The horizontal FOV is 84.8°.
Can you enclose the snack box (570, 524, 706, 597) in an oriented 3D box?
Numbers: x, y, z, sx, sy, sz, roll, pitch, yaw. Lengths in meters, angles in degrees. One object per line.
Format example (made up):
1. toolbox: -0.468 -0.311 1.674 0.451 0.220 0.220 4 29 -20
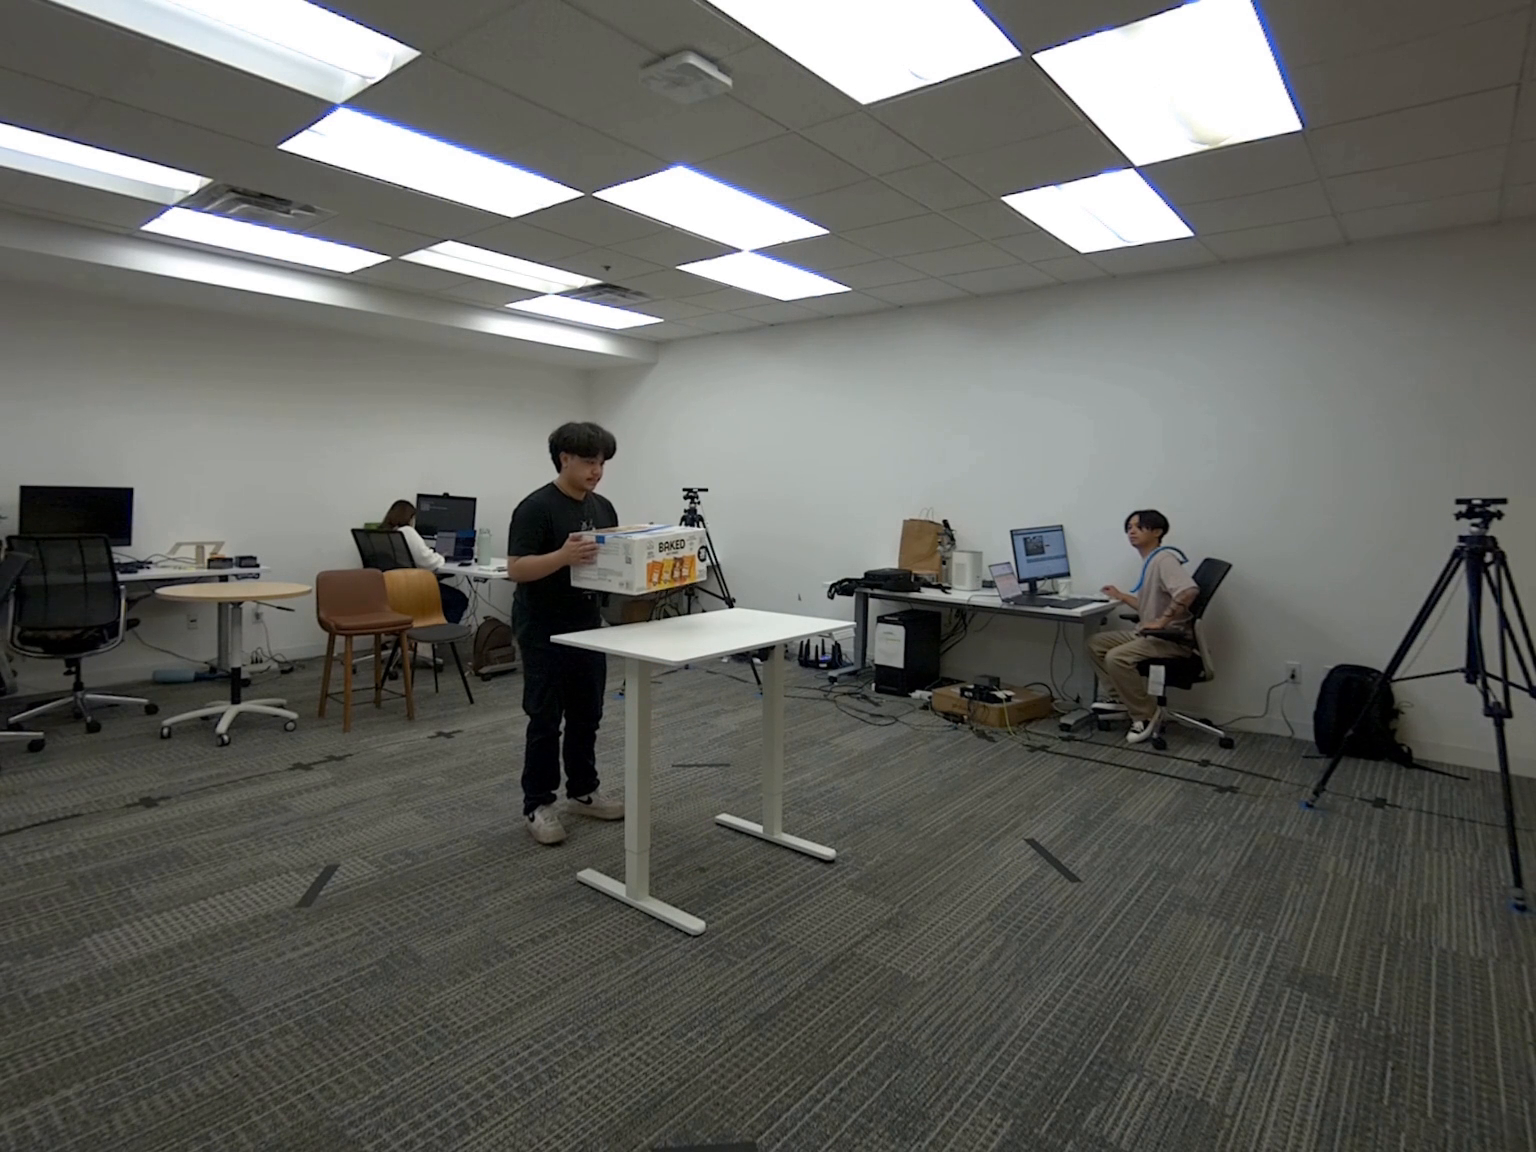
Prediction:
1. snack box: -0.509 -0.069 3.254 0.352 0.204 0.395 6 11 36
